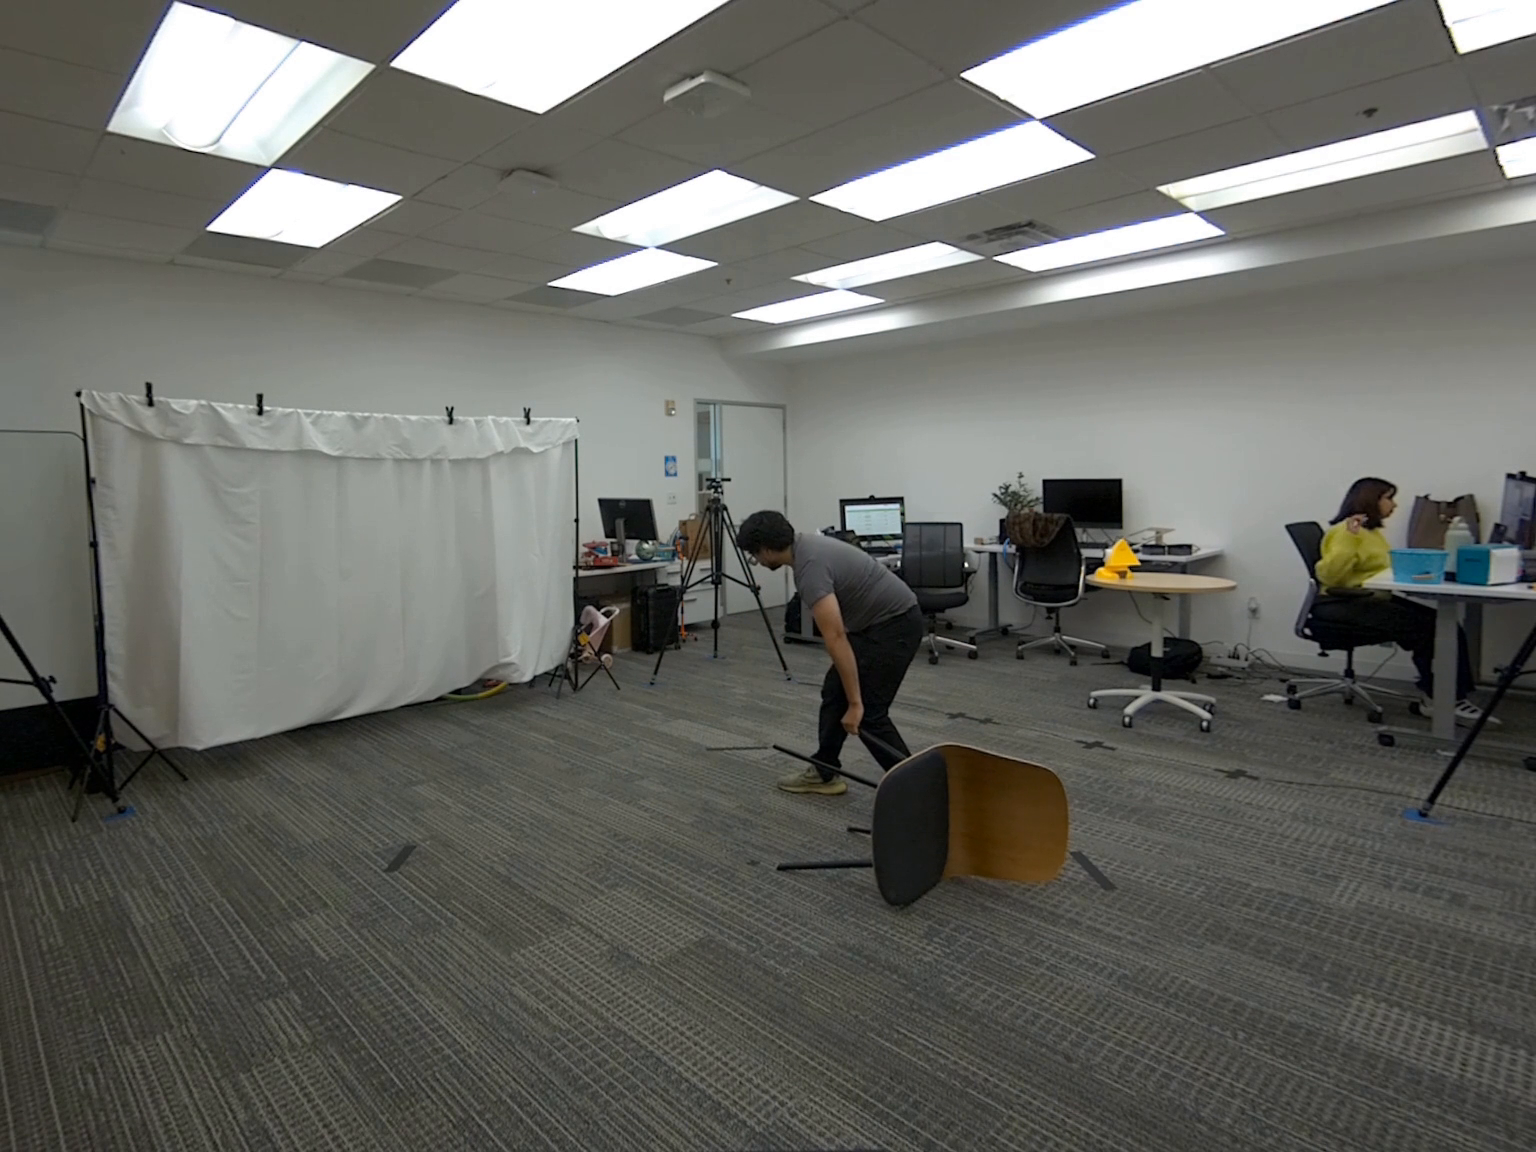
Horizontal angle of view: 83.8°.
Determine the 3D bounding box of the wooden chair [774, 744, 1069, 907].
[{"bbox_3d":[0.493,0.828,2.908,0.903,0.476,0.510,2,5,37],"label":"wooden chair"}]
